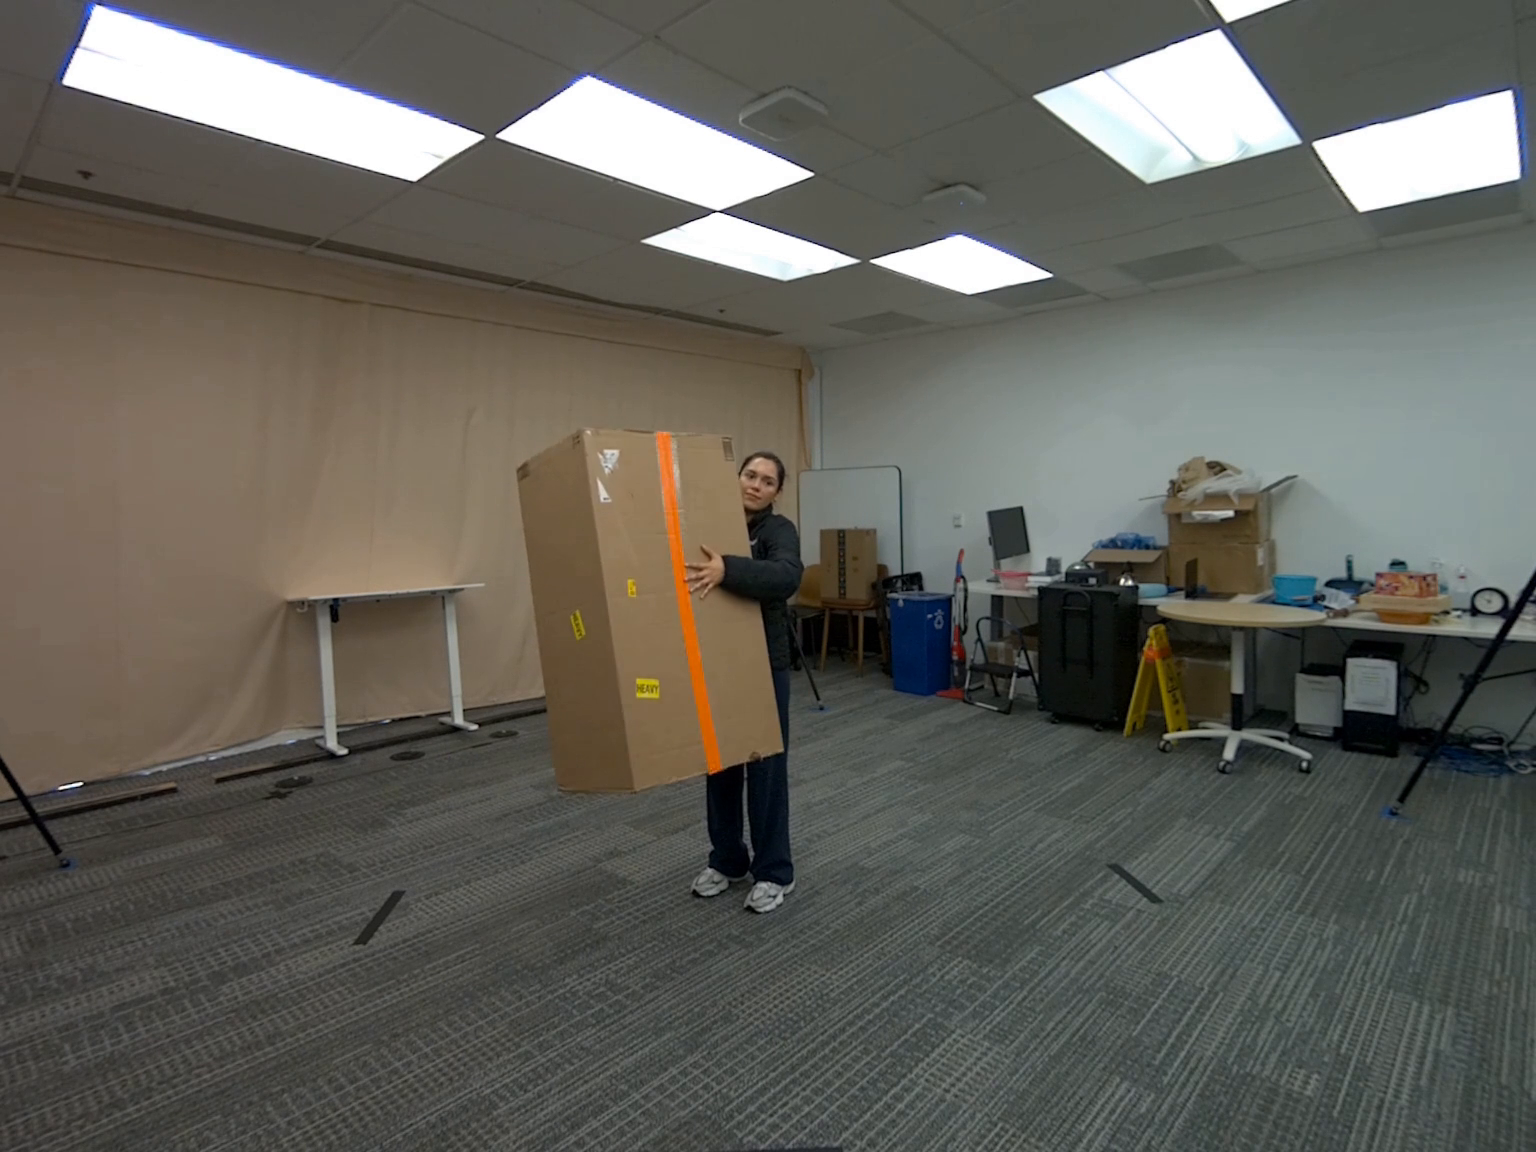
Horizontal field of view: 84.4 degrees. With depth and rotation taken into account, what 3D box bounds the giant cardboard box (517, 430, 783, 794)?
[{"bbox_3d":[-0.365,0.095,2.651,0.560,1.032,0.436,-4,-10,-41],"label":"giant cardboard box"}]
